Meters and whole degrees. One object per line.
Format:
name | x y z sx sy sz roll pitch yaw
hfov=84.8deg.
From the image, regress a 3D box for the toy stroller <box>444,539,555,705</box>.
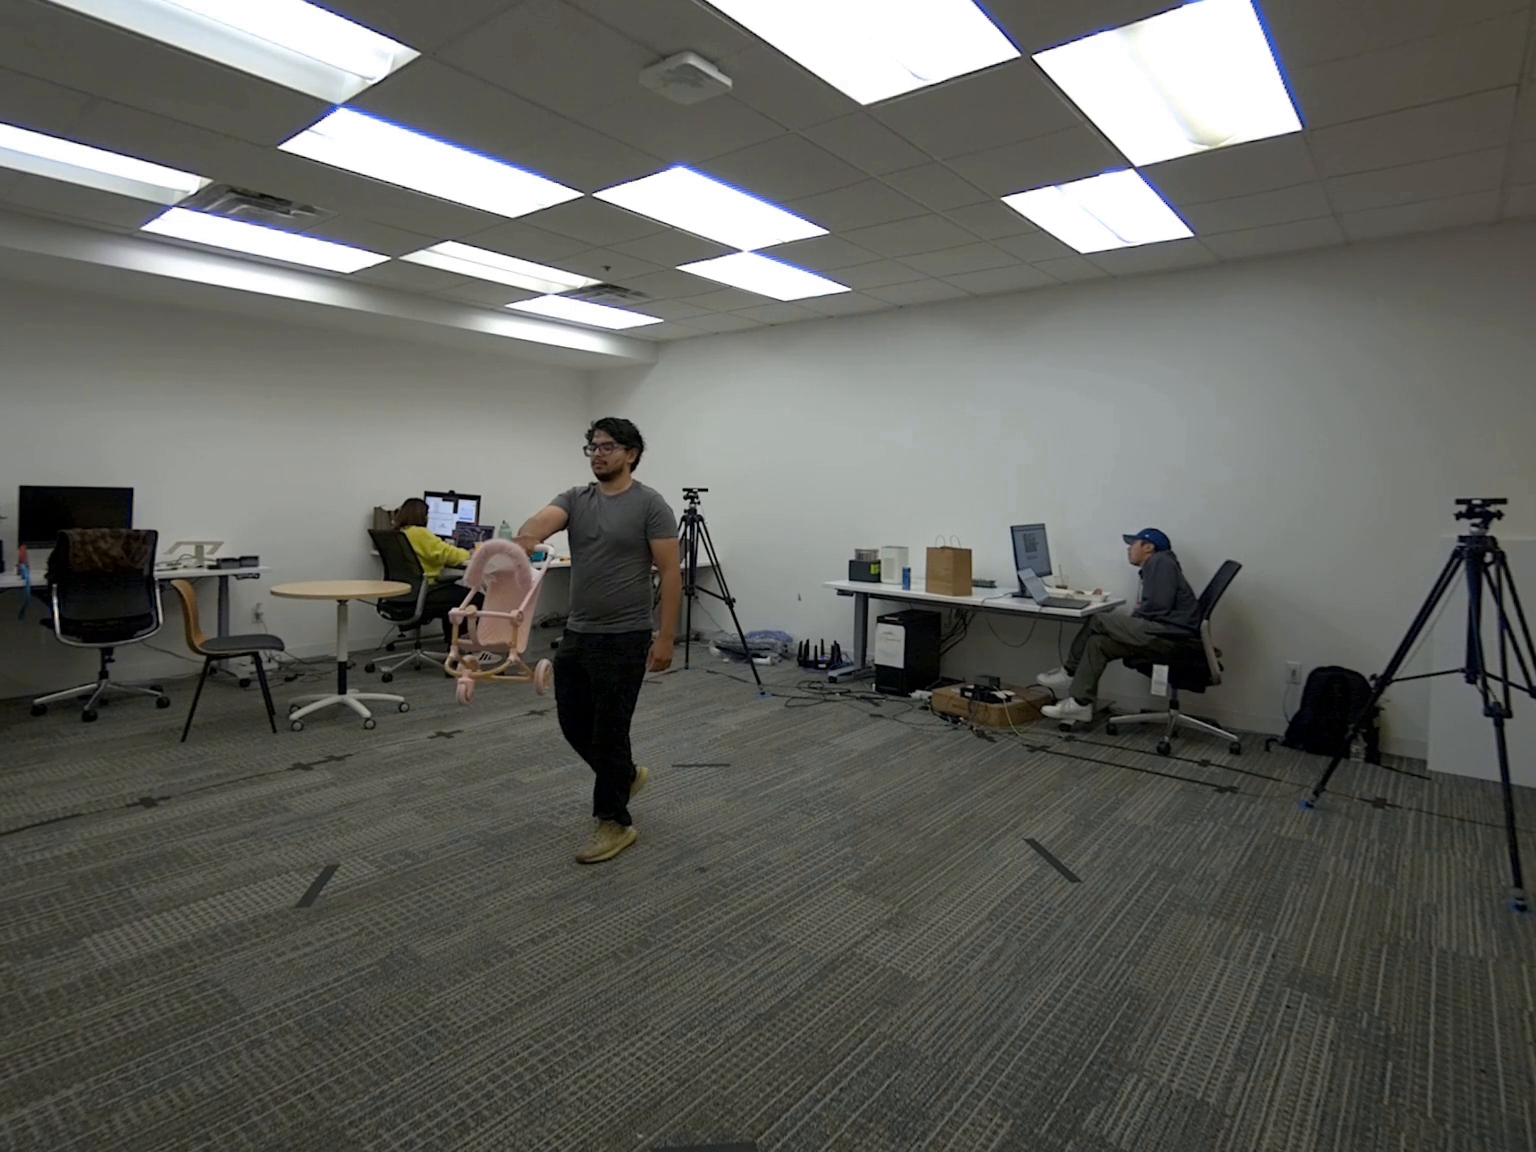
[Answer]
toy stroller | -0.825 0.130 2.563 0.286 0.541 0.332 1 -13 13
